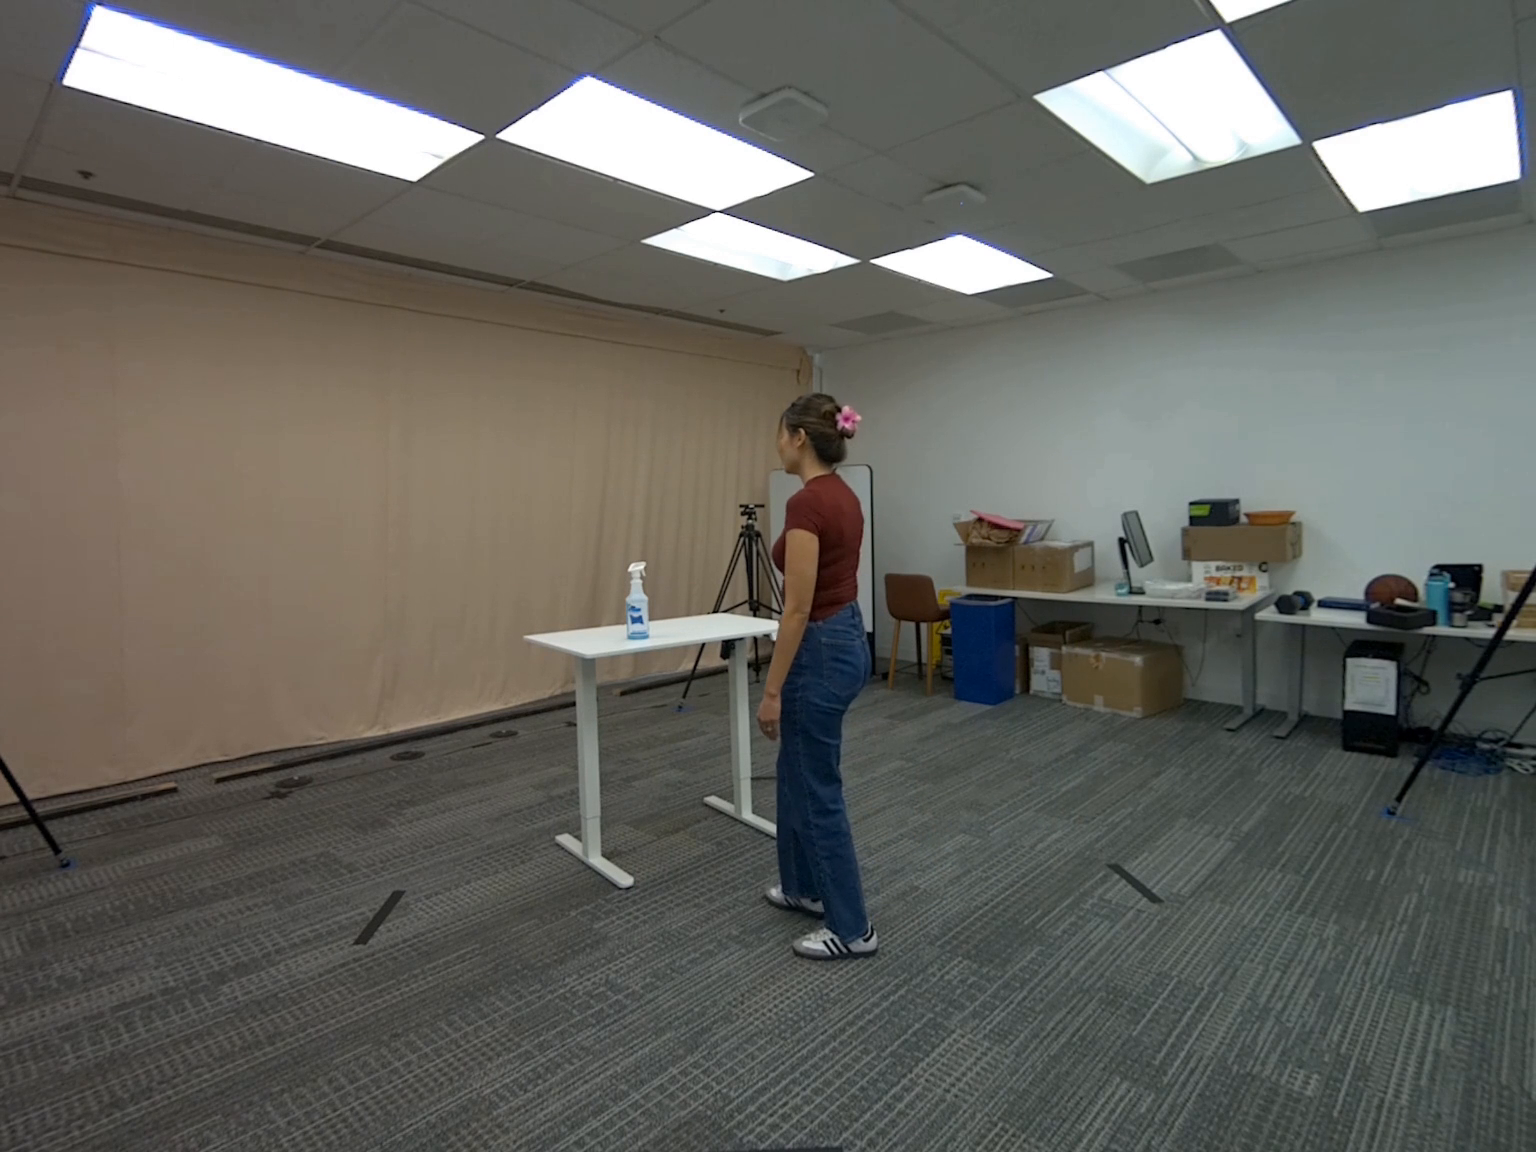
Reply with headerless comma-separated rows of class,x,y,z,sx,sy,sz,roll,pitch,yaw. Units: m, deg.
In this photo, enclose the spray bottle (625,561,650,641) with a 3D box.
spray bottle,-0.508,0.099,3.294,0.088,0.297,0.089,-3,3,-26
